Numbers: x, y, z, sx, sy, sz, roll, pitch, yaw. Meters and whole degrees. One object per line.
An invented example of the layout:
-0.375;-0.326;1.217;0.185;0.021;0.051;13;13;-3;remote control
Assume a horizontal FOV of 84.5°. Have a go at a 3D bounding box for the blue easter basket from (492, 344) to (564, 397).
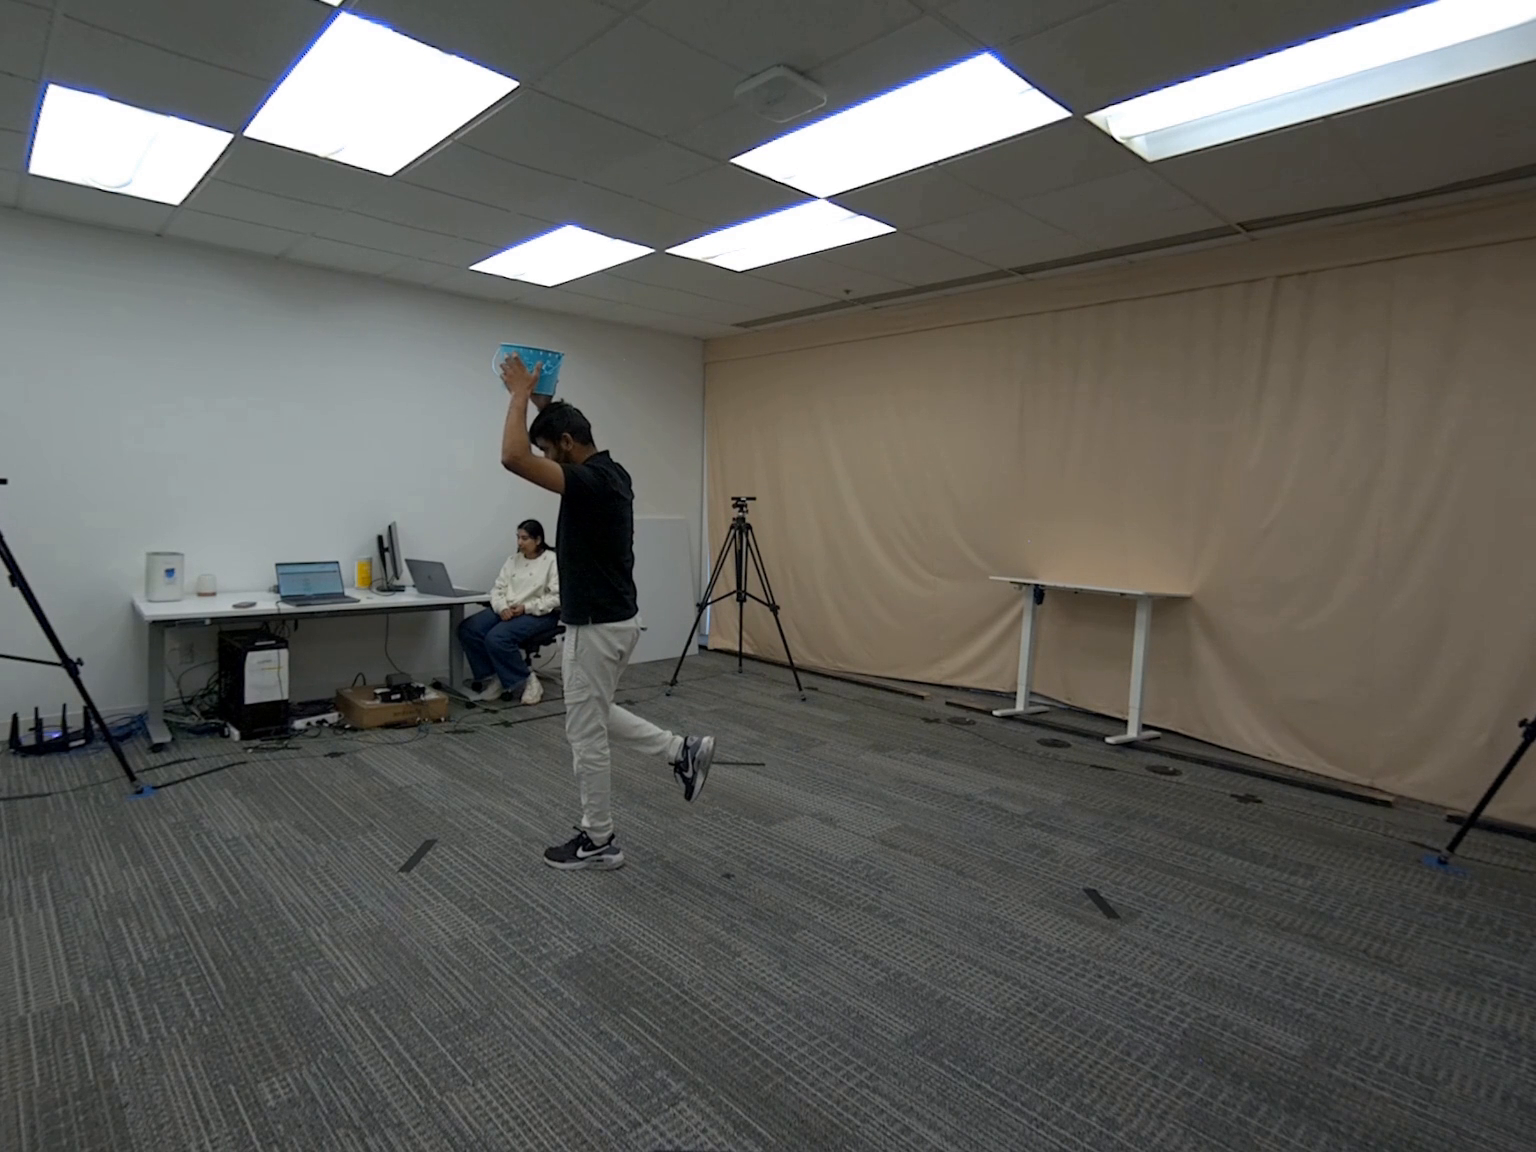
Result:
-0.871;-0.733;2.985;0.243;0.155;0.245;6;9;-2;blue easter basket
